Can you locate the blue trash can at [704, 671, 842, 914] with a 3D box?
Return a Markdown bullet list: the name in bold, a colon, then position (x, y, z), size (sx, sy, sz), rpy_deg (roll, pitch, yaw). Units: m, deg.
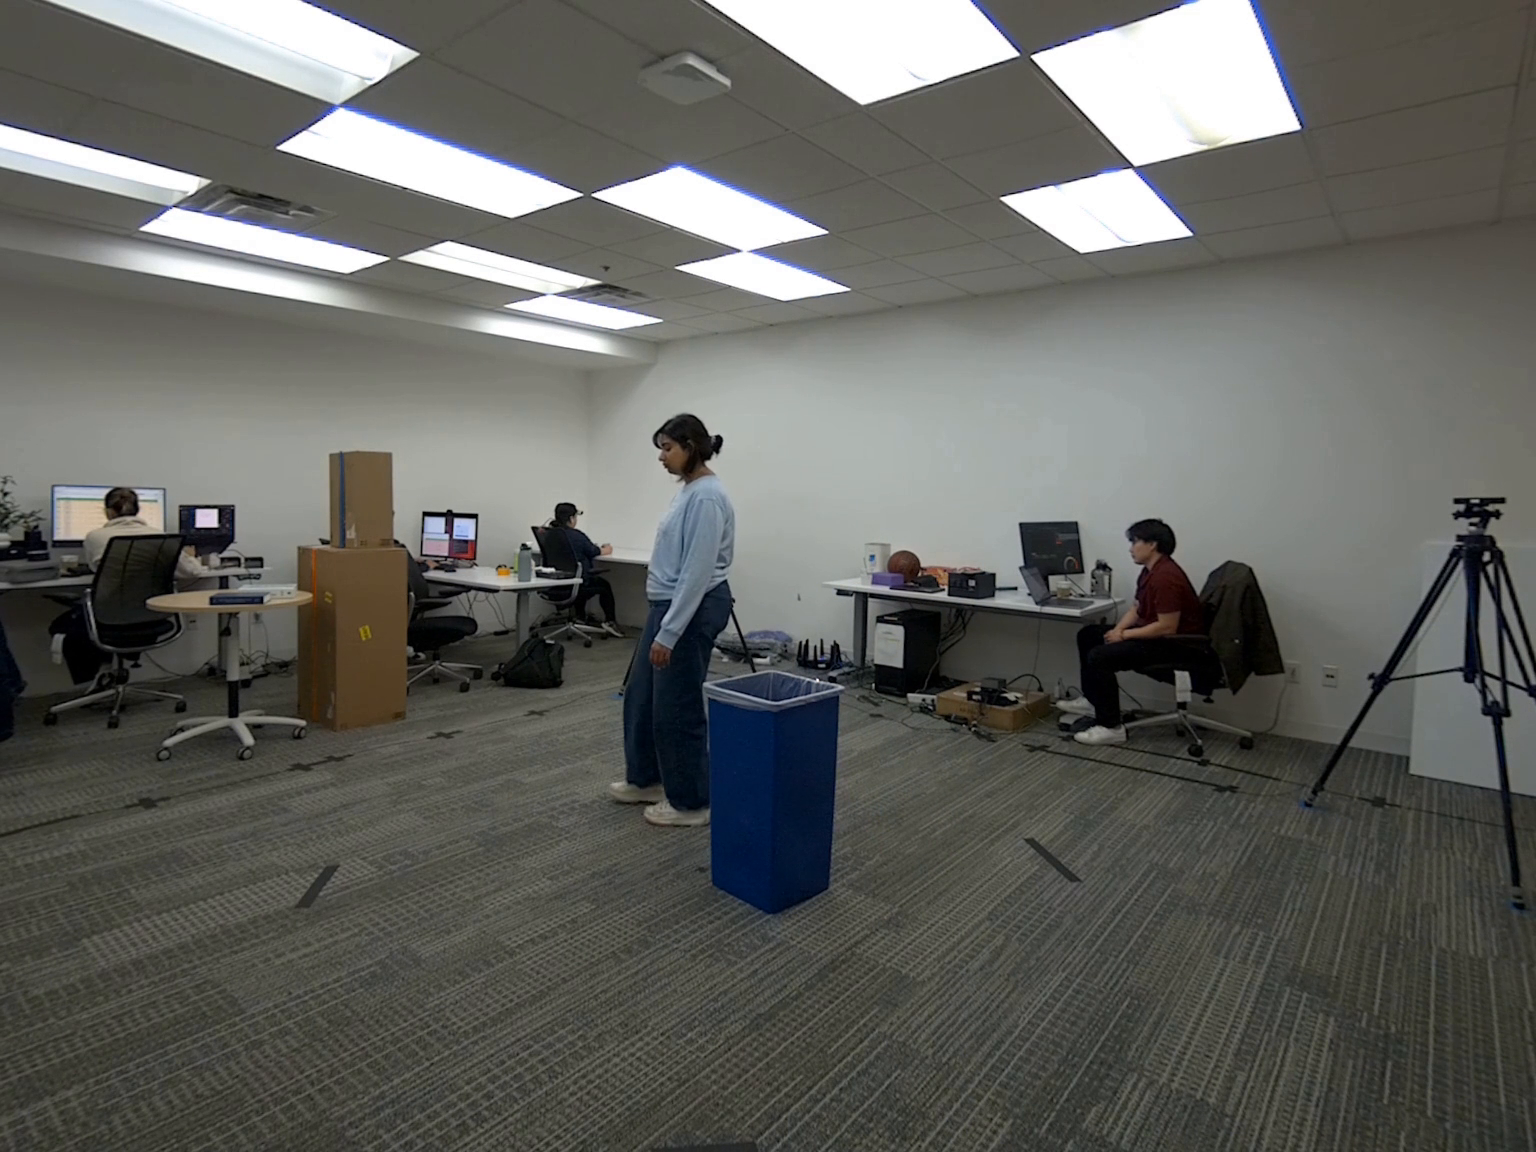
- **blue trash can**: position (0.005, 0.730, 2.963), size (0.391, 0.712, 0.362), rpy_deg (4, 4, 44)
